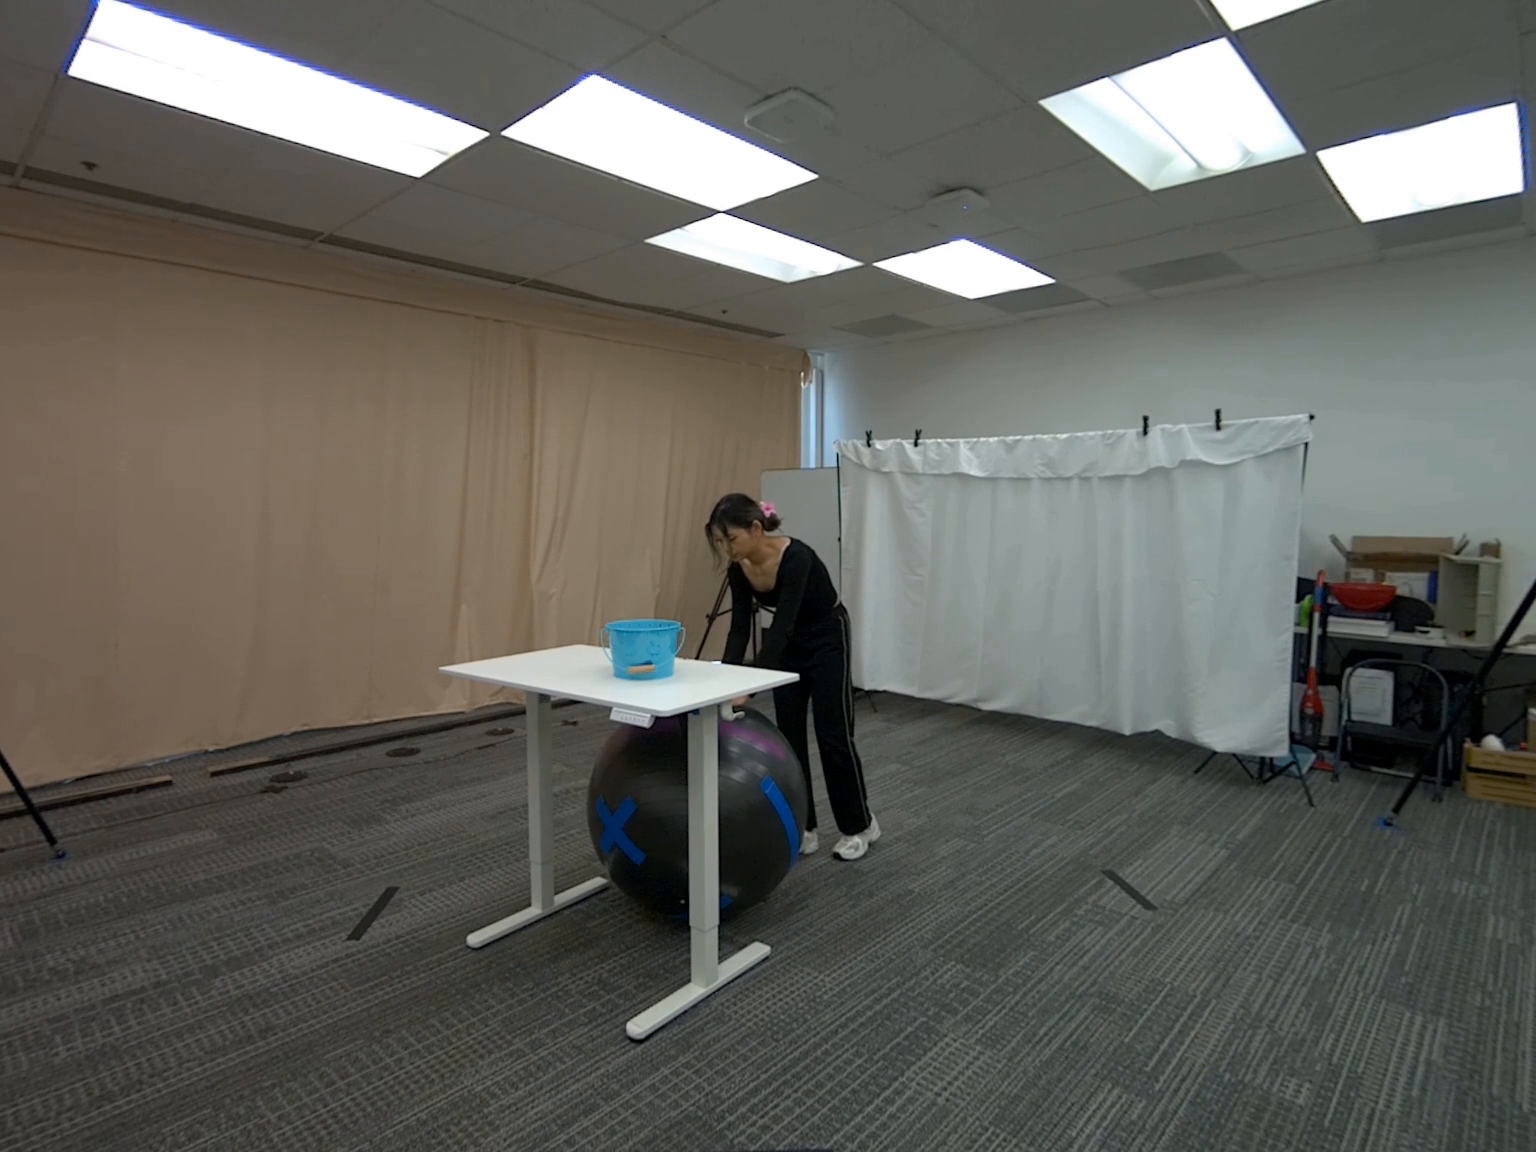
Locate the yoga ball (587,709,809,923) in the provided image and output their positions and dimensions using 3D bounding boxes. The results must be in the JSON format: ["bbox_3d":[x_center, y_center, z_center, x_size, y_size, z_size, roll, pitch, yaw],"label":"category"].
[{"bbox_3d":[-0.251,0.785,2.909,0.757,0.756,0.761,0,4,-2],"label":"yoga ball"}]
